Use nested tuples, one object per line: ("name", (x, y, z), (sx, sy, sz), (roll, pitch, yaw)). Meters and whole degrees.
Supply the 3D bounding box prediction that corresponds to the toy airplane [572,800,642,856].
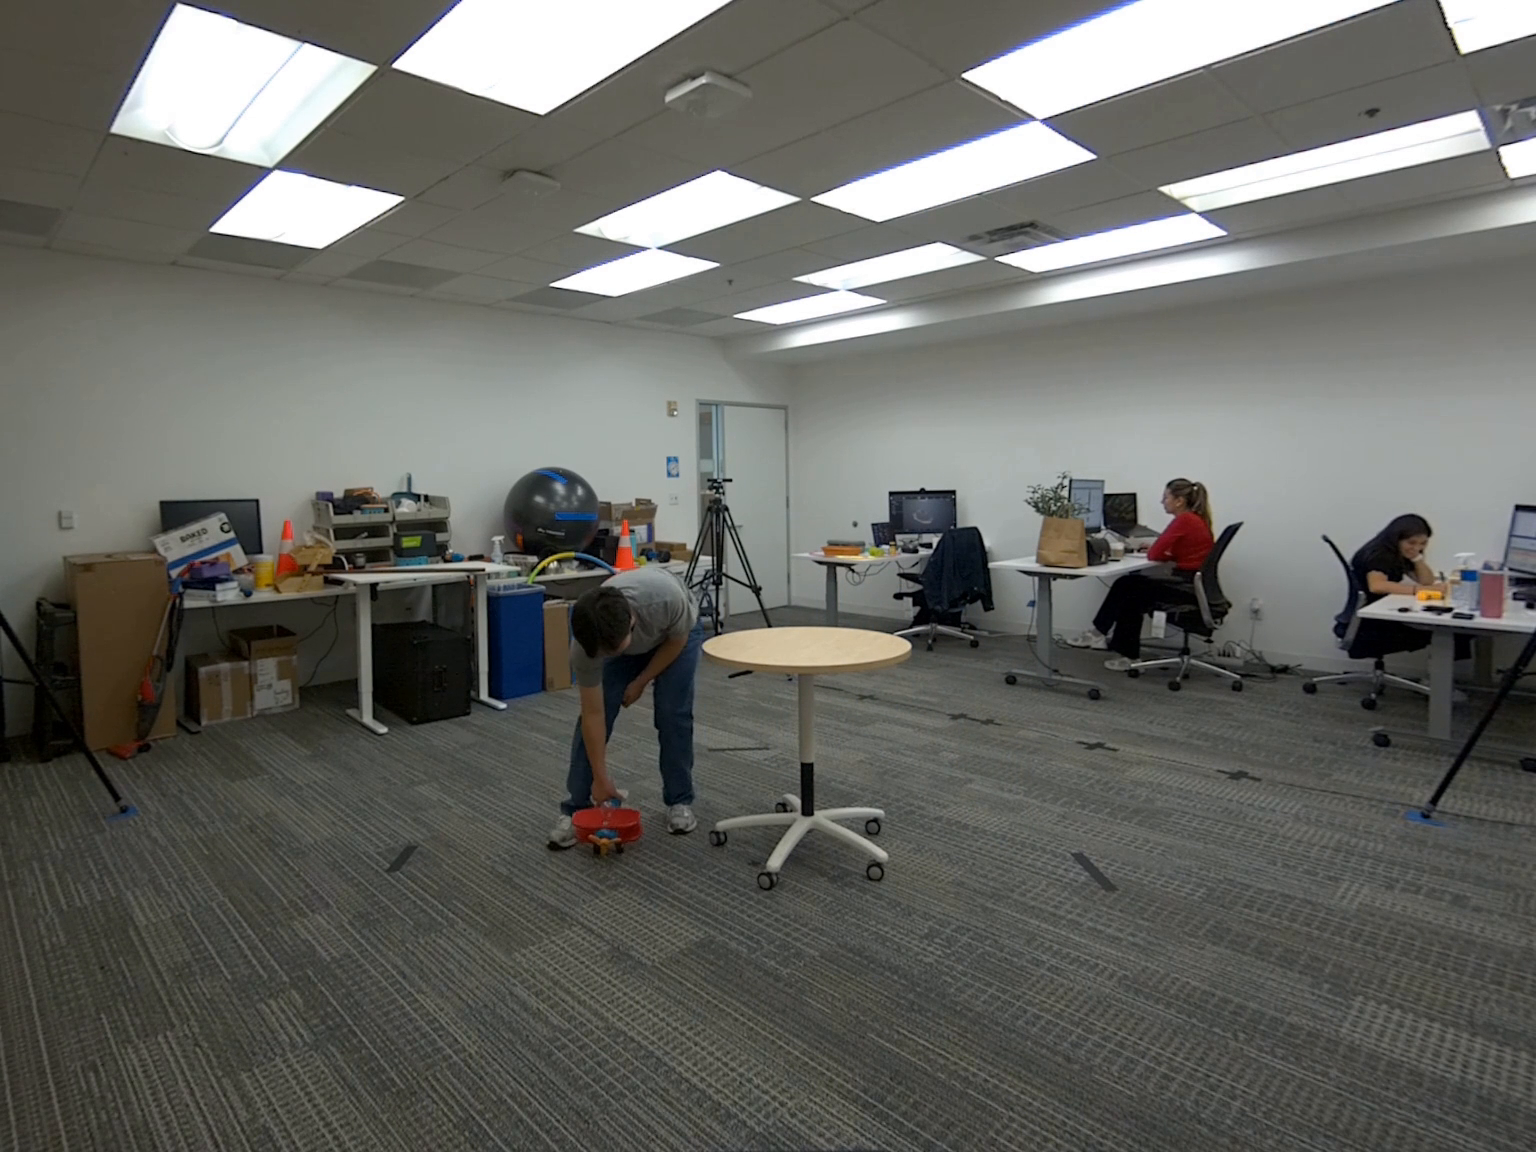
("toy airplane", (-0.619, 0.924, 3.242), (0.248, 0.152, 0.269), (-22, 50, -20))
